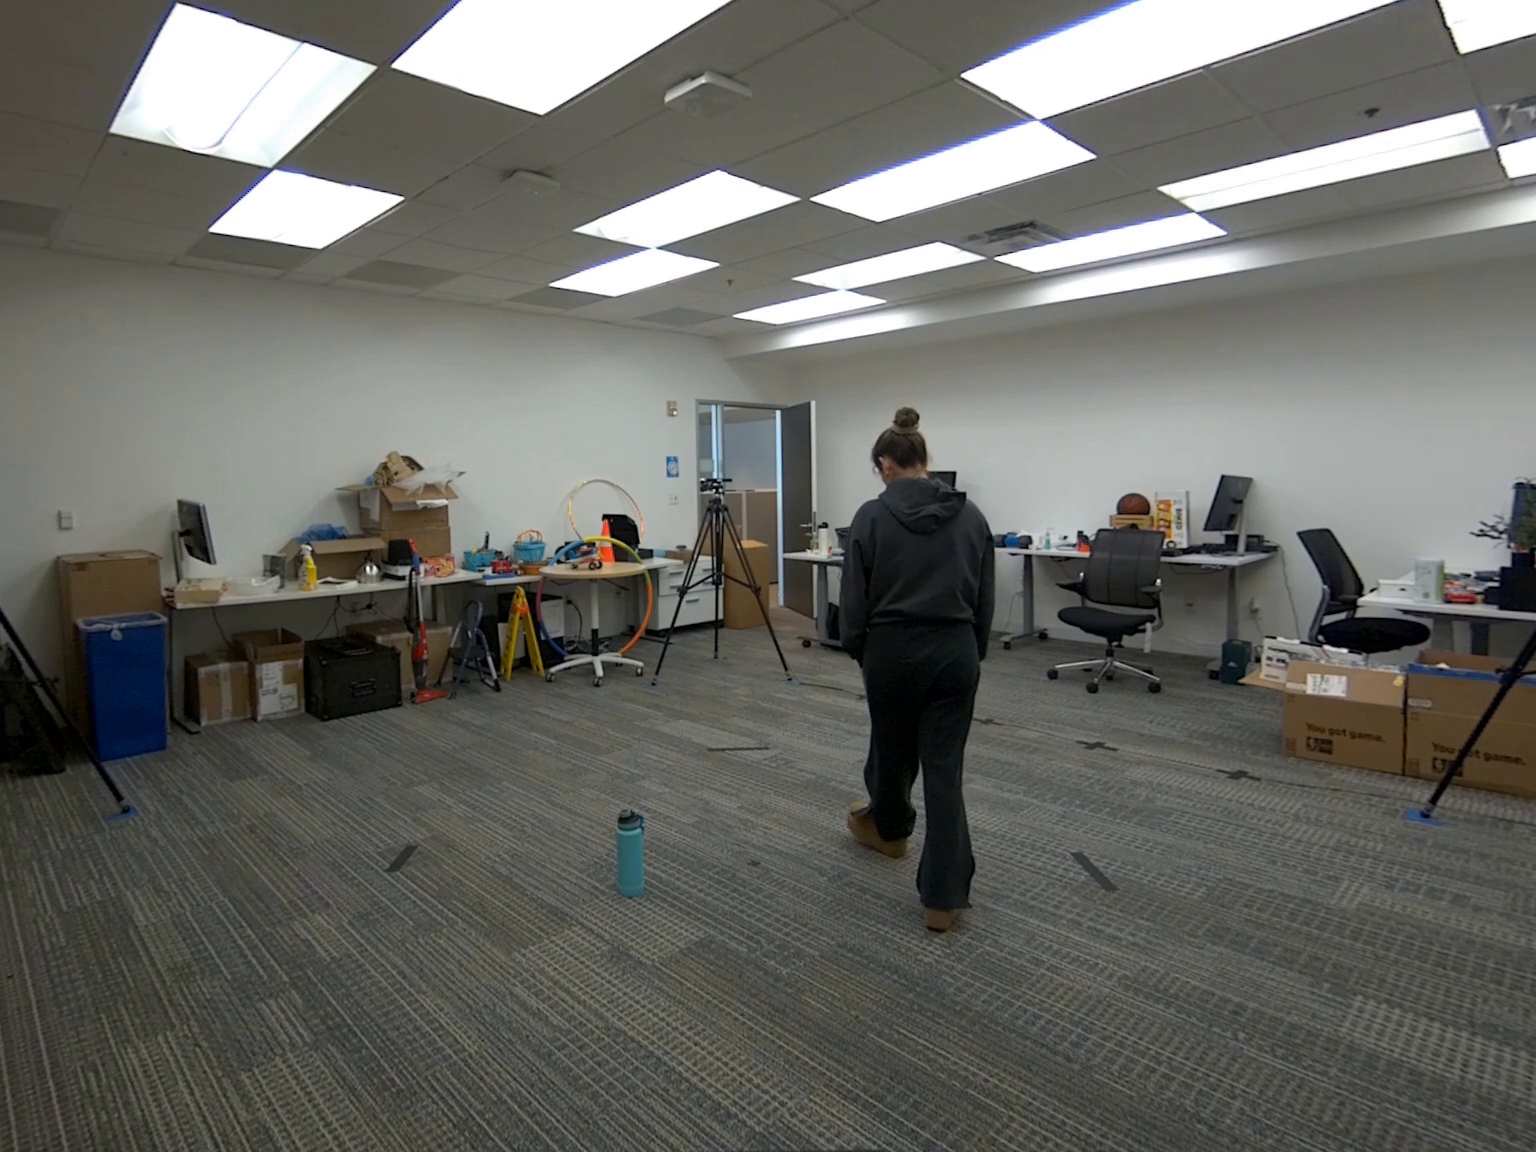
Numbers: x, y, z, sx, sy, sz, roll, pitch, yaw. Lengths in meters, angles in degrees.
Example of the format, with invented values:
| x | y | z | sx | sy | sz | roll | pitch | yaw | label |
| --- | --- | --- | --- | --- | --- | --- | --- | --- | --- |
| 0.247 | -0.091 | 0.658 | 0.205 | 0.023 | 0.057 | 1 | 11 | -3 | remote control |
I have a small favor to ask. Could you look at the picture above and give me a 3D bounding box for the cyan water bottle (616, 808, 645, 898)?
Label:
| x | y | z | sx | sy | sz | roll | pitch | yaw | label |
| --- | --- | --- | --- | --- | --- | --- | --- | --- | --- |
| -0.461 | 0.933 | 2.900 | 0.092 | 0.282 | 0.093 | 0 | 3 | -2 | cyan water bottle |
